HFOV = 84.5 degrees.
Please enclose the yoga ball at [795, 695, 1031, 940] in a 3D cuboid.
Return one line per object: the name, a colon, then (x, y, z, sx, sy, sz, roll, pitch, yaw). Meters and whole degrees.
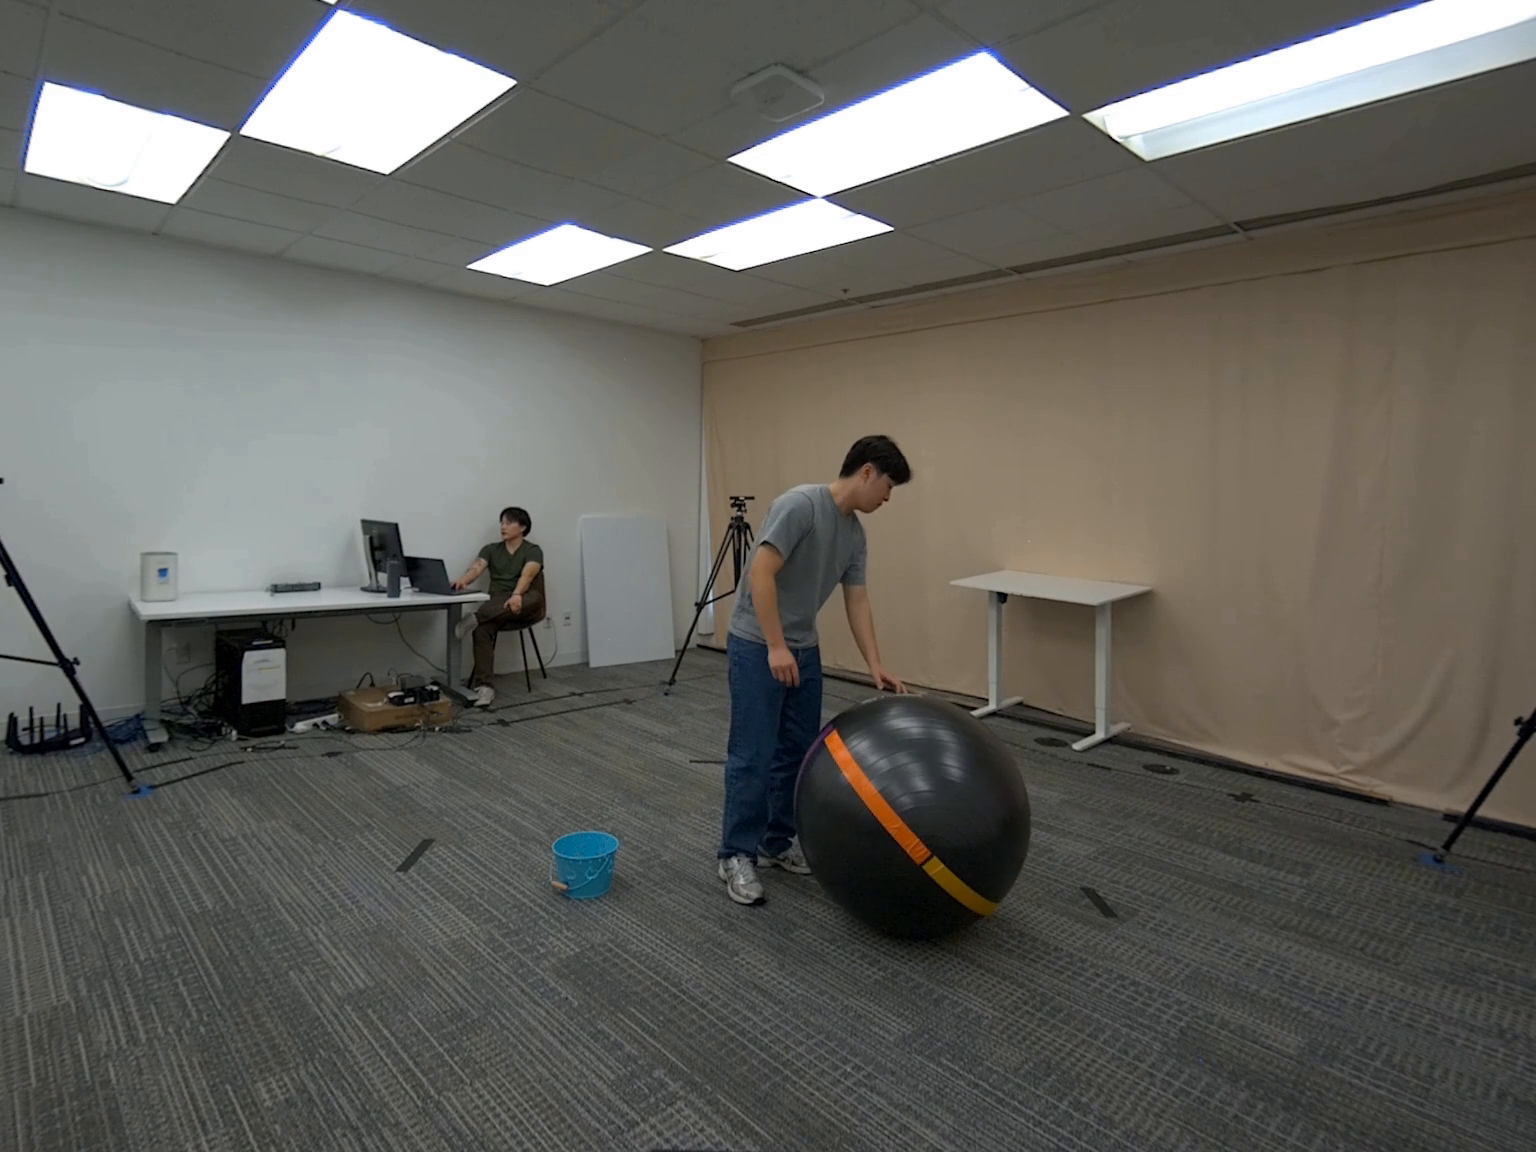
yoga ball: (0.465, 0.779, 2.776, 0.757, 0.756, 0.761, 1, 4, -1)
